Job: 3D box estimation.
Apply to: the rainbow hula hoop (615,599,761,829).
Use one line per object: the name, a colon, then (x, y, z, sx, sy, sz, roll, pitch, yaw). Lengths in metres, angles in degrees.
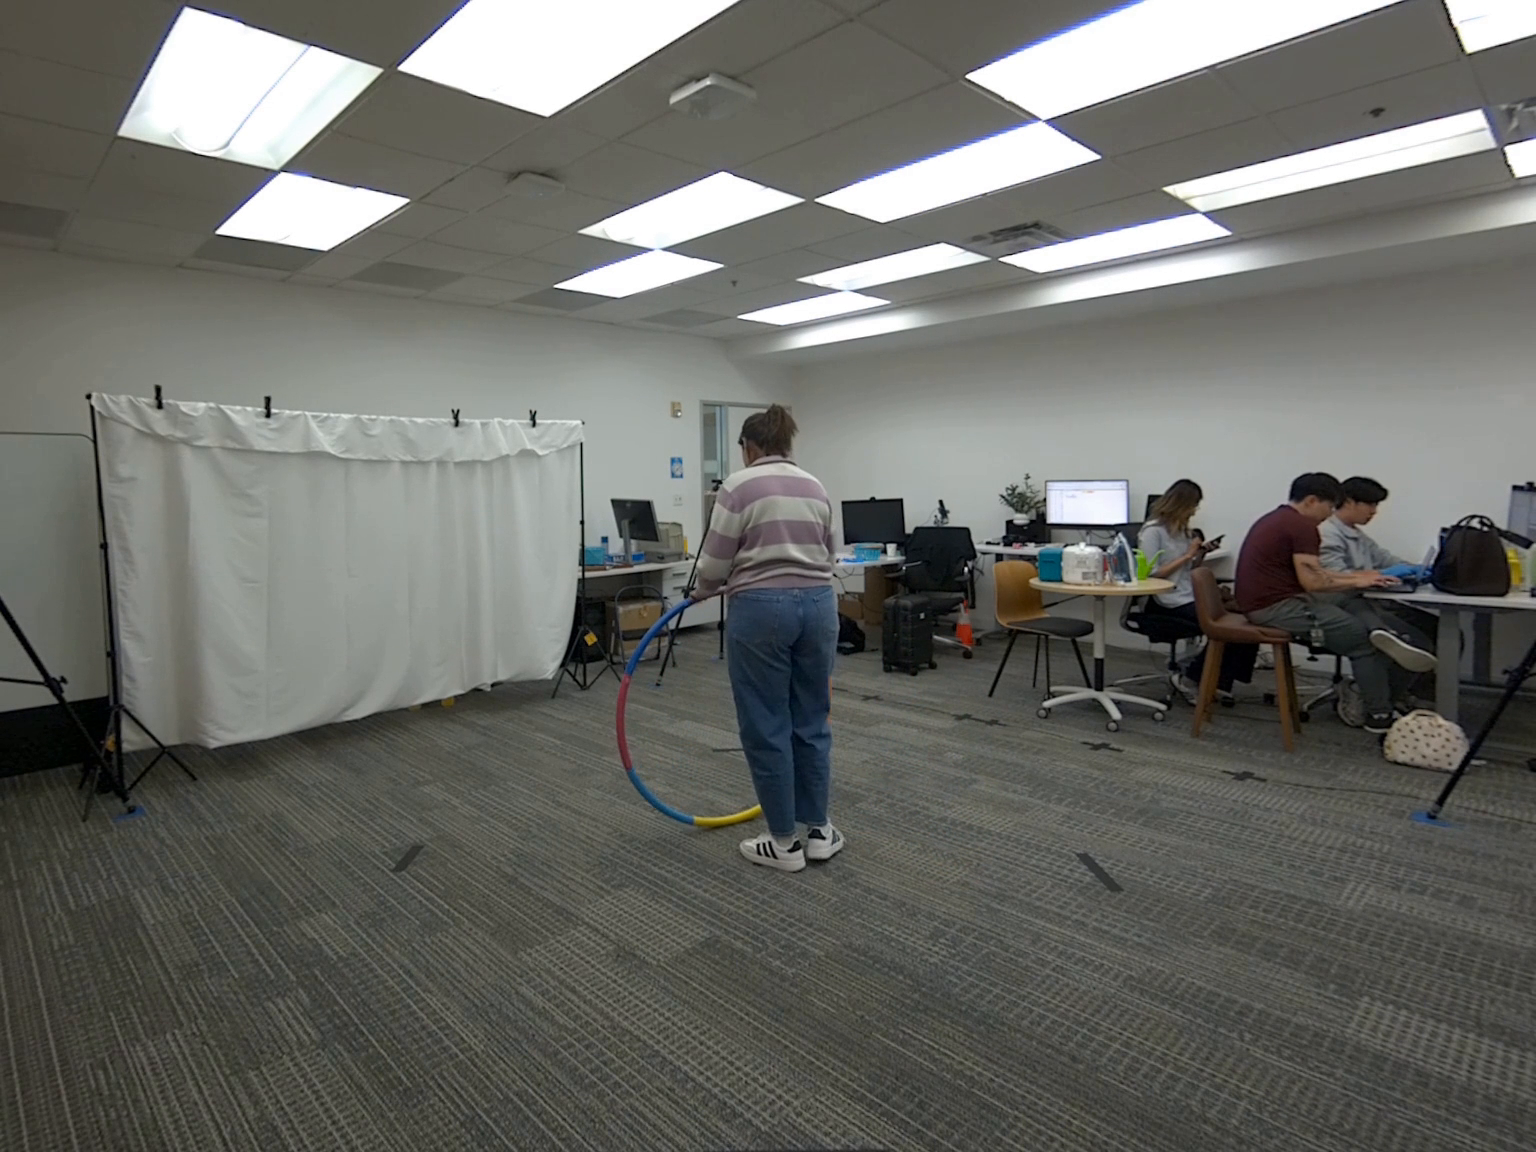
rainbow hula hoop: (-0.149, 0.525, 3.460, 0.963, 0.983, 0.053, -4, 3, -29)
